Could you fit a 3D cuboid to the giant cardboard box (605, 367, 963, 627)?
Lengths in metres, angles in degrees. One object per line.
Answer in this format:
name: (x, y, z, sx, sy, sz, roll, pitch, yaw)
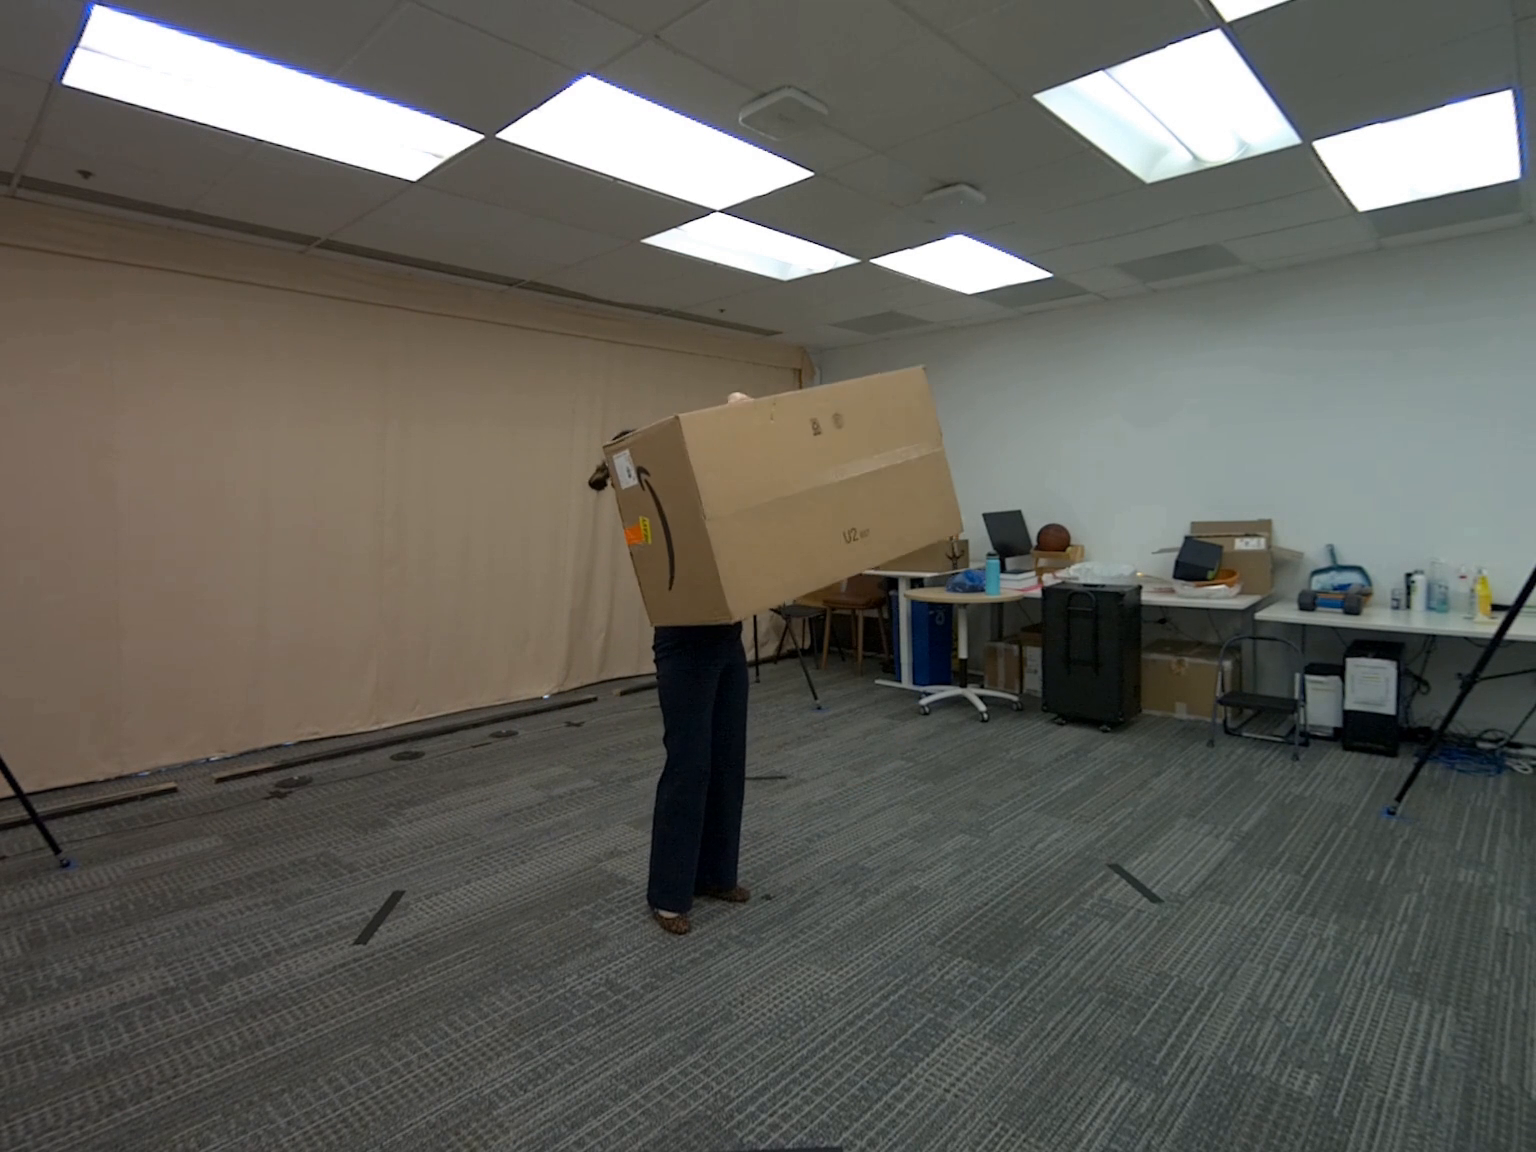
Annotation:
giant cardboard box: (0.082, -0.259, 2.681, 1.002, 0.575, 0.438, -19, 6, -37)
